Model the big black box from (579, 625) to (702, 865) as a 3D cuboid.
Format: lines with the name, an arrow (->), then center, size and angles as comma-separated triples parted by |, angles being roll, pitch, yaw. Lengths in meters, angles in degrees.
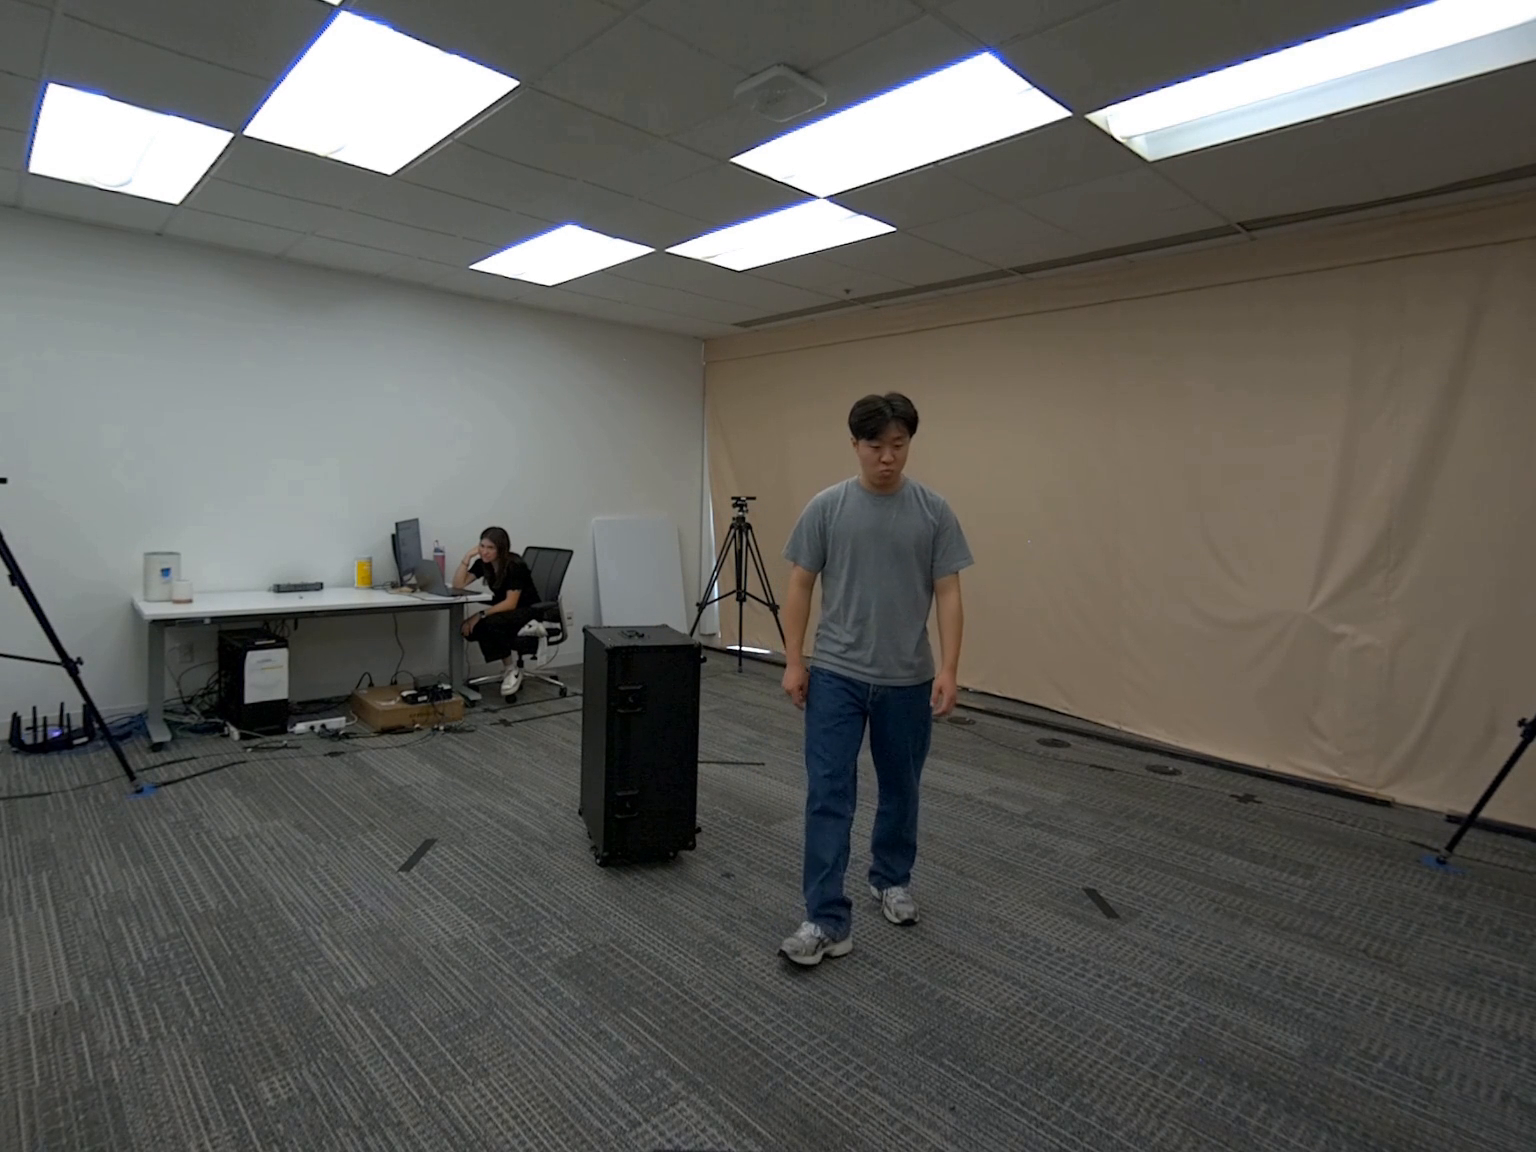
big black box -> -0.514, 0.651, 3.314 | 0.390, 0.860, 0.531 | 2, 3, -22
